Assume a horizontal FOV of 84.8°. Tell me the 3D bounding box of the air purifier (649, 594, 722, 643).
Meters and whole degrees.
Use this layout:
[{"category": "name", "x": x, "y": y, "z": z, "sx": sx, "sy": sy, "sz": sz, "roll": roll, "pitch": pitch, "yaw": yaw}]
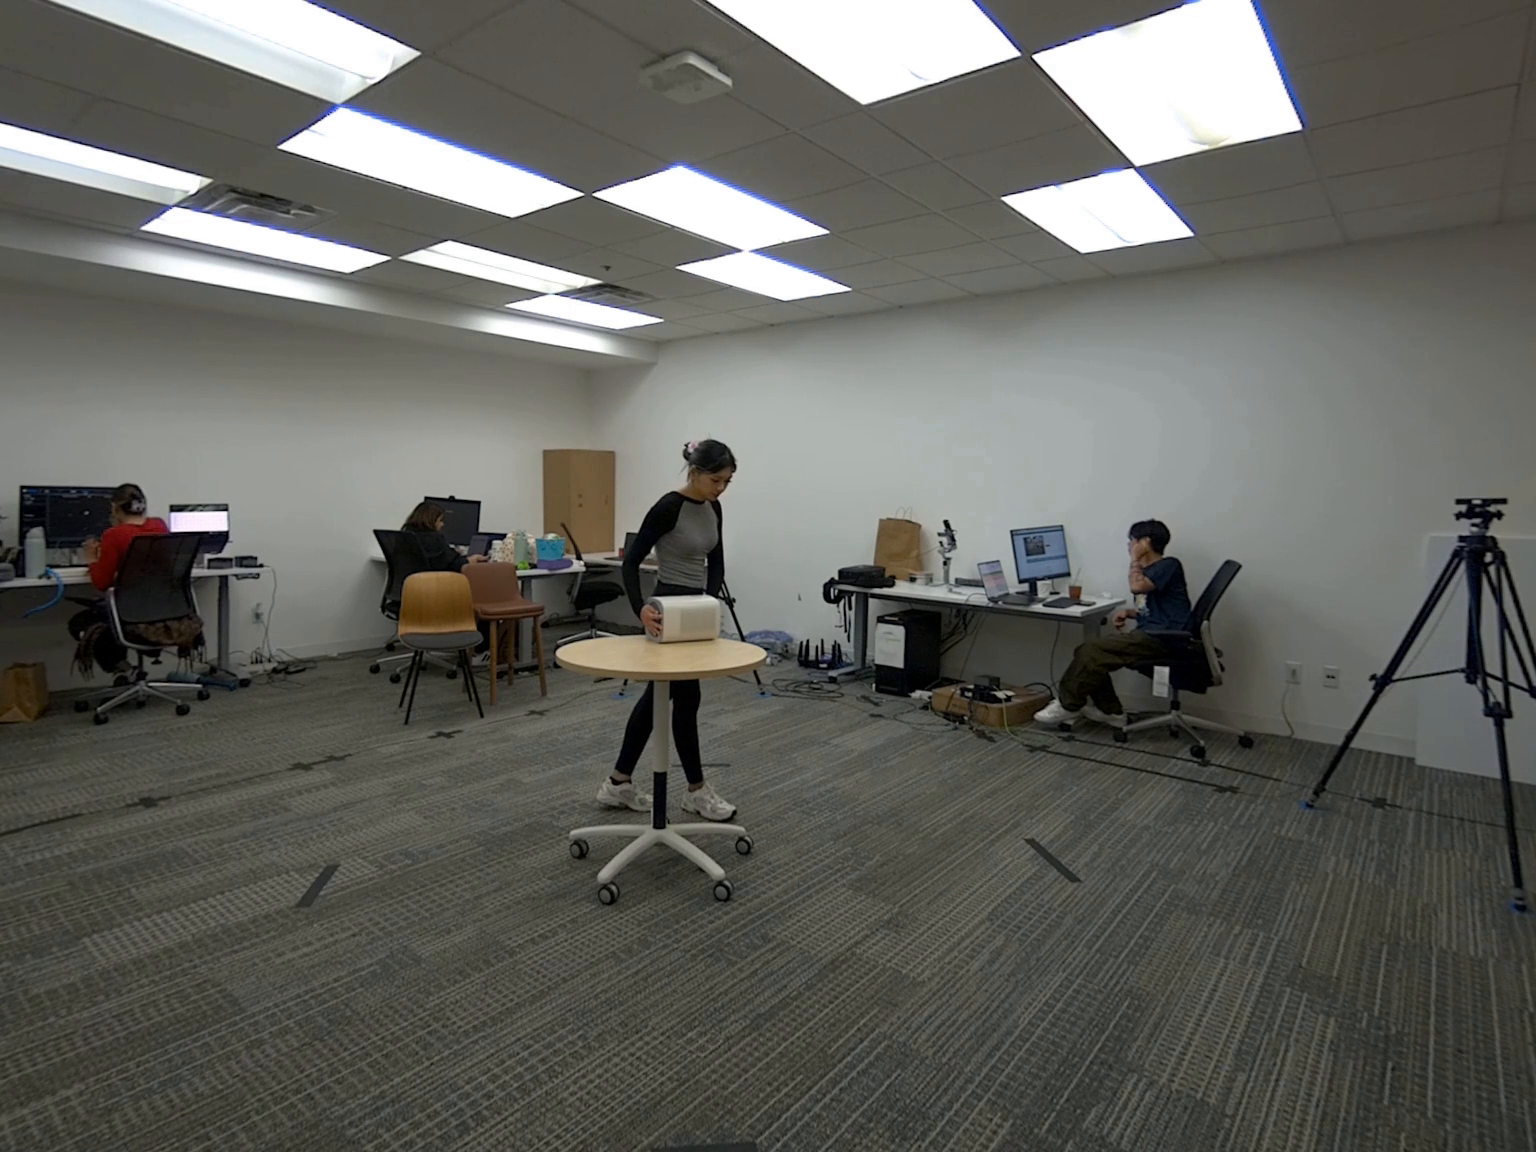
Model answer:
[{"category": "air purifier", "x": -0.339, "y": 0.164, "z": 3.380, "sx": 0.258, "sy": 0.171, "sz": 0.176, "roll": -1, "pitch": 5, "yaw": -28}]
